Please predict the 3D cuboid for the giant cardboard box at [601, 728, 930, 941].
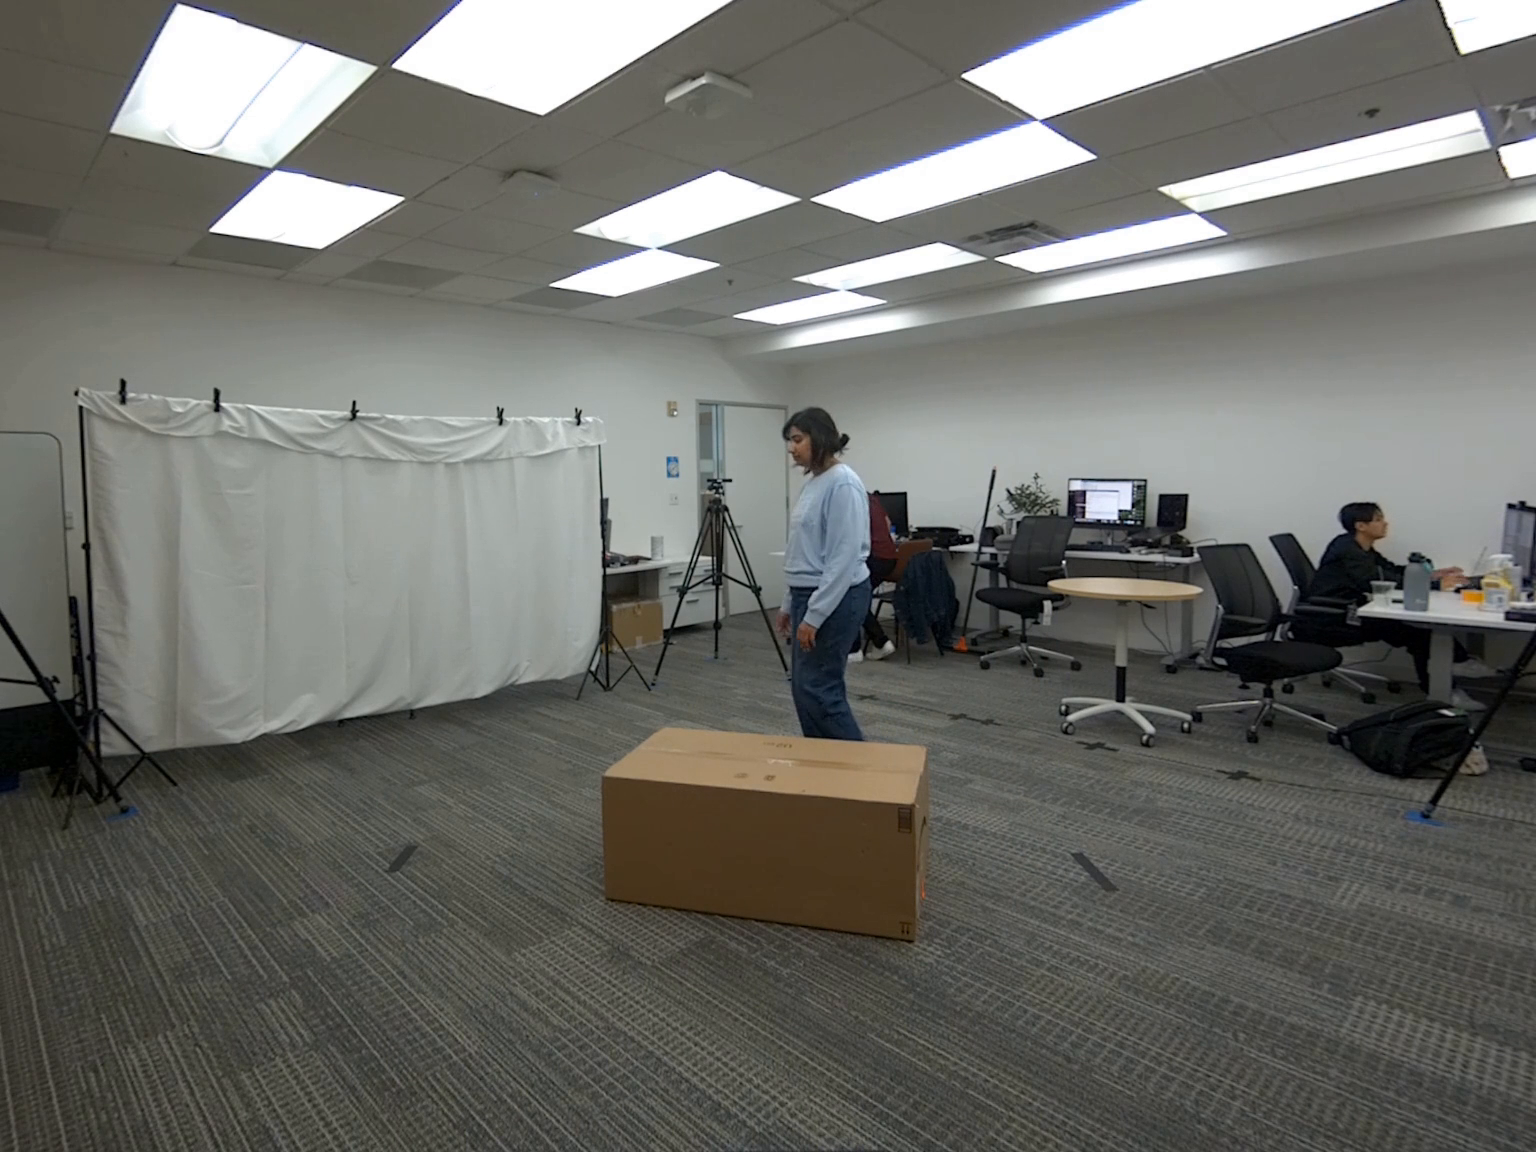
[{"bbox_3d":[0.012,0.842,2.968,1.043,0.424,0.571,1,6,16],"label":"giant cardboard box"}]
